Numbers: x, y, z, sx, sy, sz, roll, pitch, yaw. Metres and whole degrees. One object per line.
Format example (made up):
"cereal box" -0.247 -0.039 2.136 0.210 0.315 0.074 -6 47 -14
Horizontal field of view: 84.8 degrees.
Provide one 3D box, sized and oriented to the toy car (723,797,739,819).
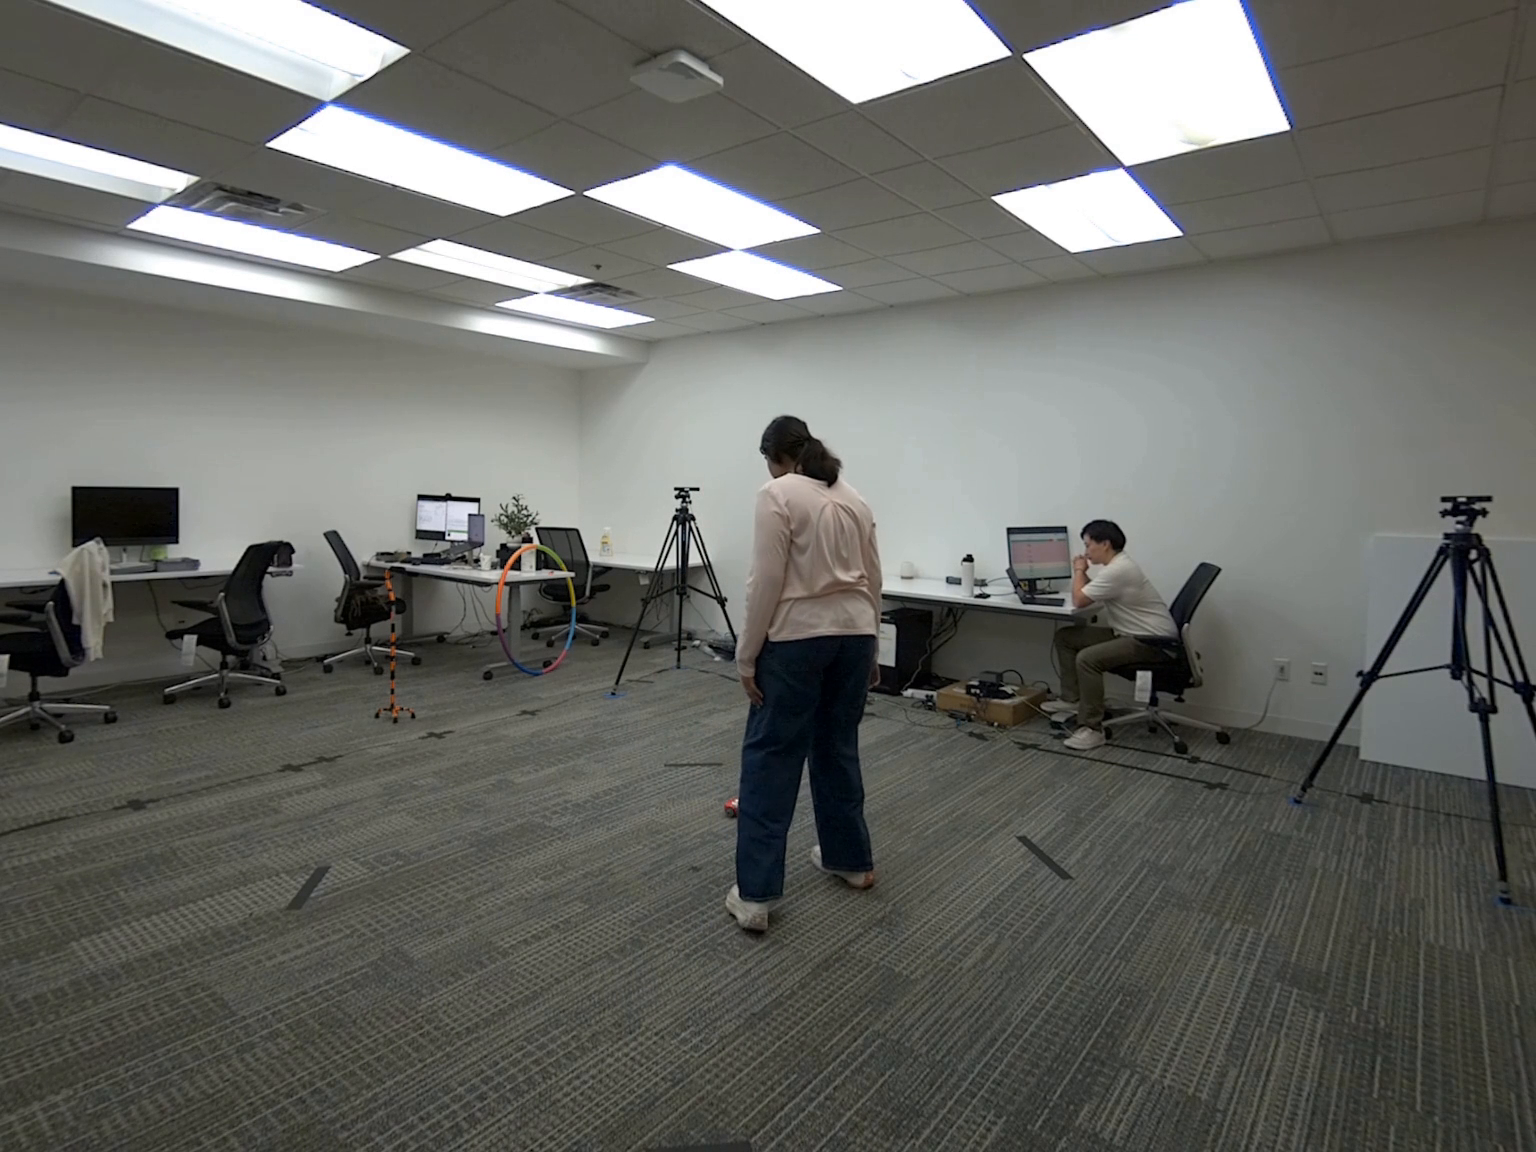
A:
"toy car" -0.062 0.984 3.609 0.260 0.083 0.127 -8 -1 24
